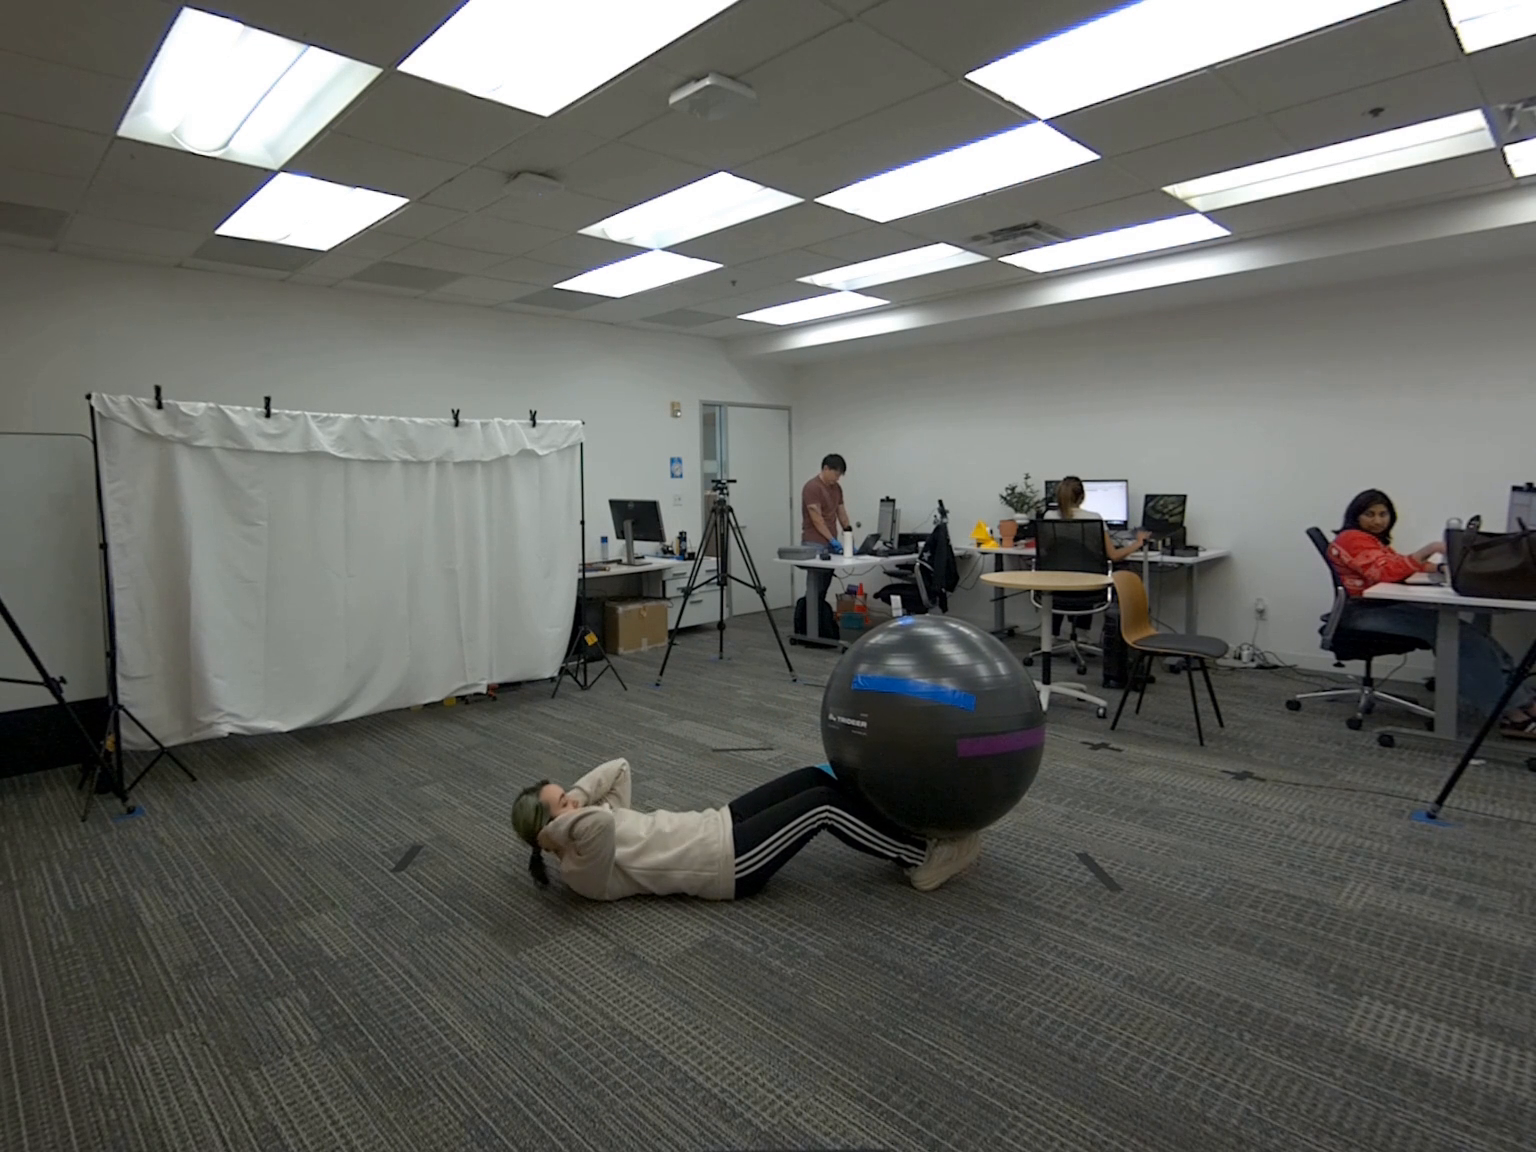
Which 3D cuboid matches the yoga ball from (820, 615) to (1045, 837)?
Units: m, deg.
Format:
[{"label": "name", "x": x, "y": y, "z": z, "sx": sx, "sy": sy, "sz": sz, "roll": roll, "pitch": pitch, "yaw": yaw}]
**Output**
[{"label": "yoga ball", "x": 0.577, "y": 0.518, "z": 2.996, "sx": 0.757, "sy": 0.755, "sz": 0.762, "roll": -1, "pitch": 5, "yaw": -2}]
